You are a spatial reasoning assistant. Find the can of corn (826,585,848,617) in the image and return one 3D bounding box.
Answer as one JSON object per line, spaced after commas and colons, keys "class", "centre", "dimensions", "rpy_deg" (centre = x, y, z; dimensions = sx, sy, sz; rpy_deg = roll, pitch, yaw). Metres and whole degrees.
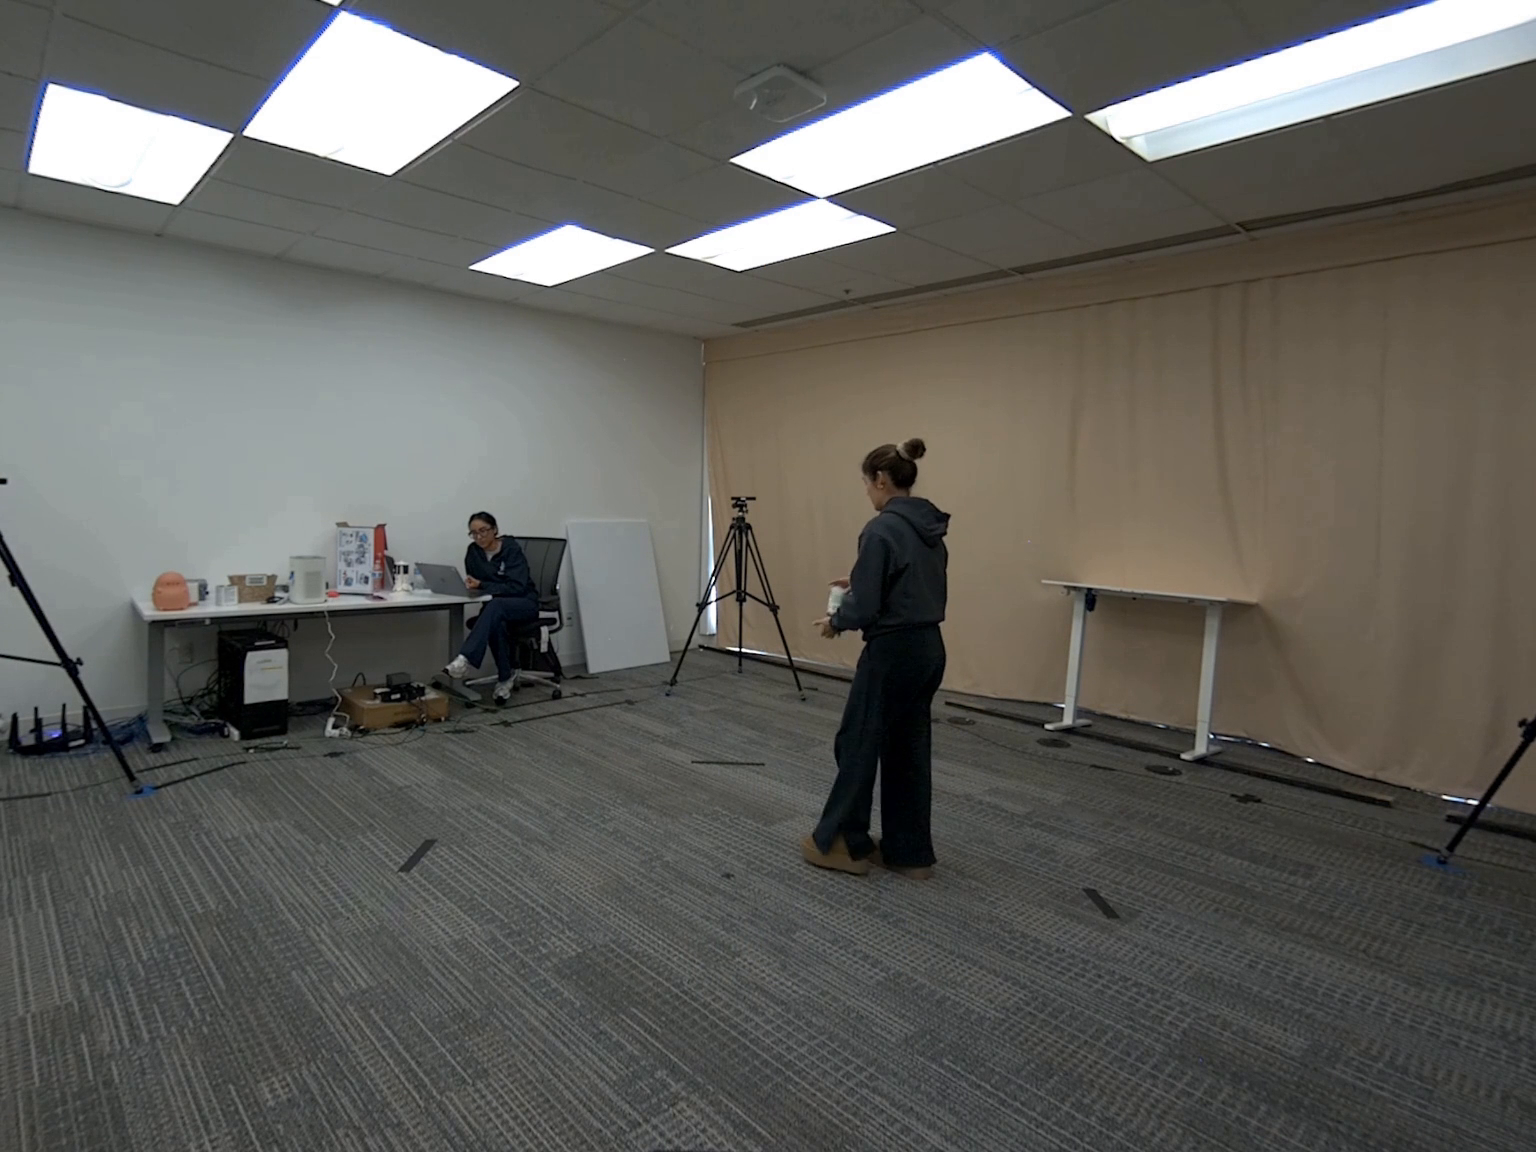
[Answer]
{"class": "can of corn", "centre": [0.290, 0.095, 3.337], "dimensions": [0.074, 0.111, 0.074], "rpy_deg": [5, -6, -1]}
